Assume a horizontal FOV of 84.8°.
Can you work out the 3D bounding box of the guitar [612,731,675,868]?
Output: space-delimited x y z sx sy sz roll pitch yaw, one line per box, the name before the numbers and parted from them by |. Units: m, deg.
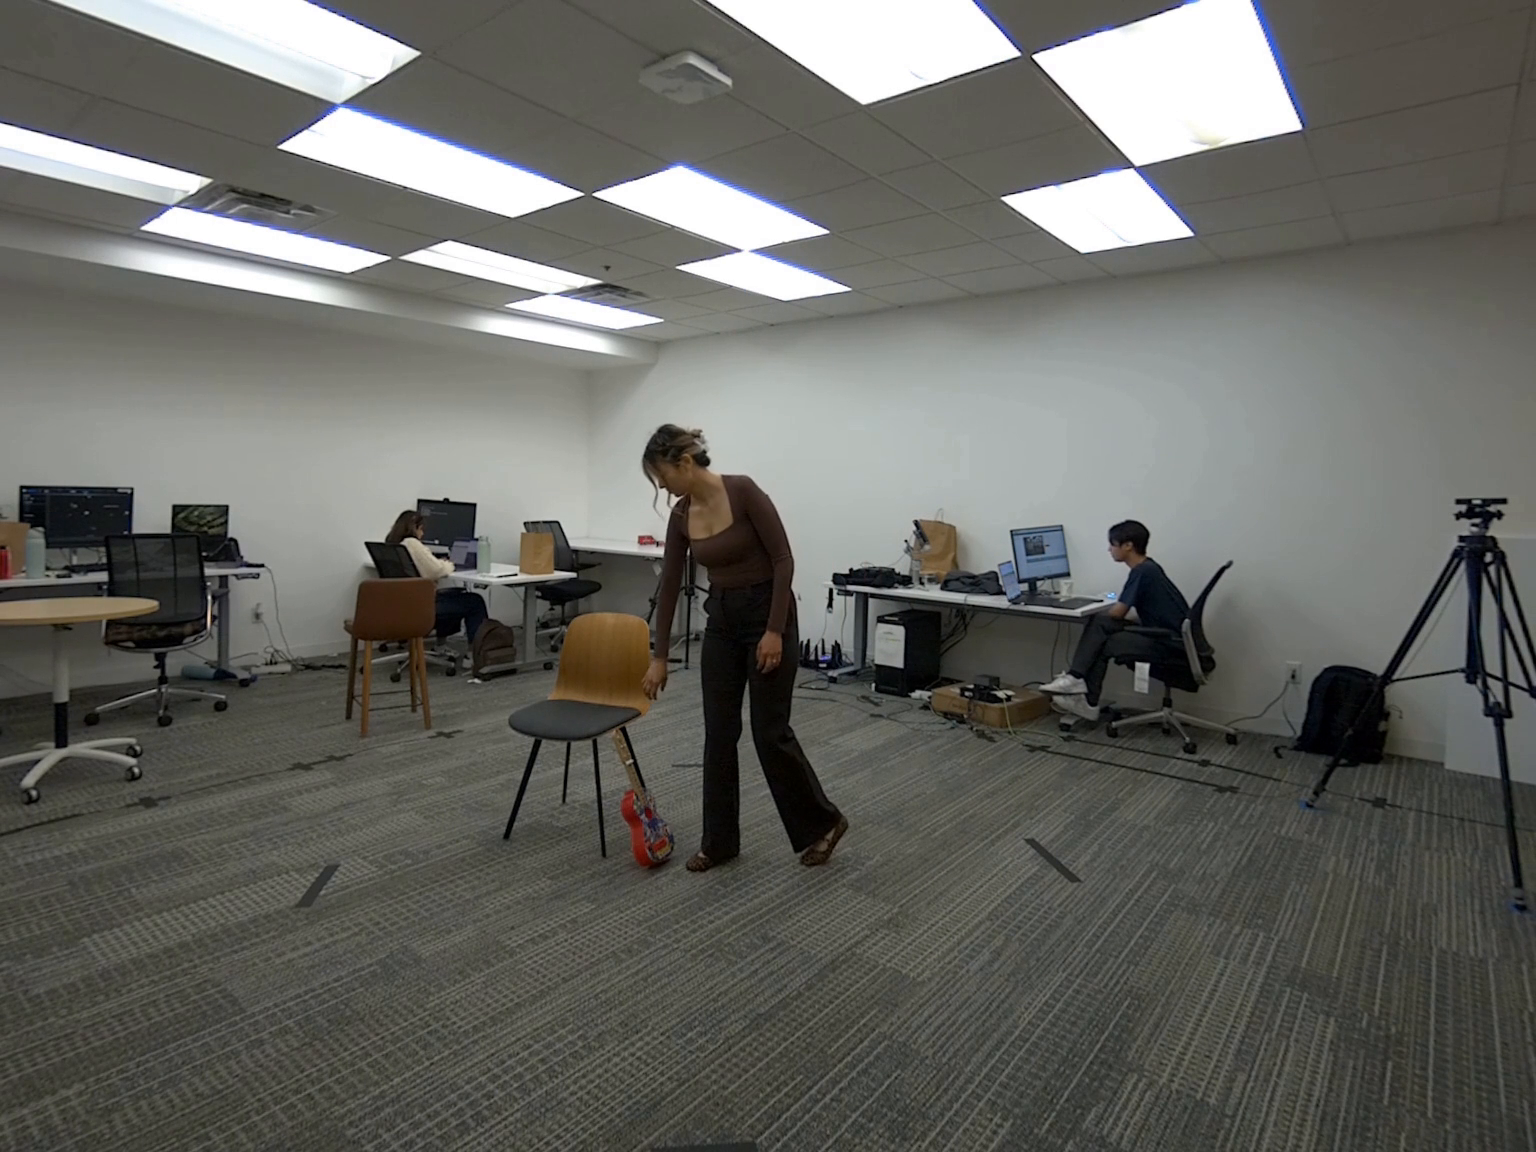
guitar | -0.489 0.826 3.206 0.071 0.506 0.187 -26 -14 22
